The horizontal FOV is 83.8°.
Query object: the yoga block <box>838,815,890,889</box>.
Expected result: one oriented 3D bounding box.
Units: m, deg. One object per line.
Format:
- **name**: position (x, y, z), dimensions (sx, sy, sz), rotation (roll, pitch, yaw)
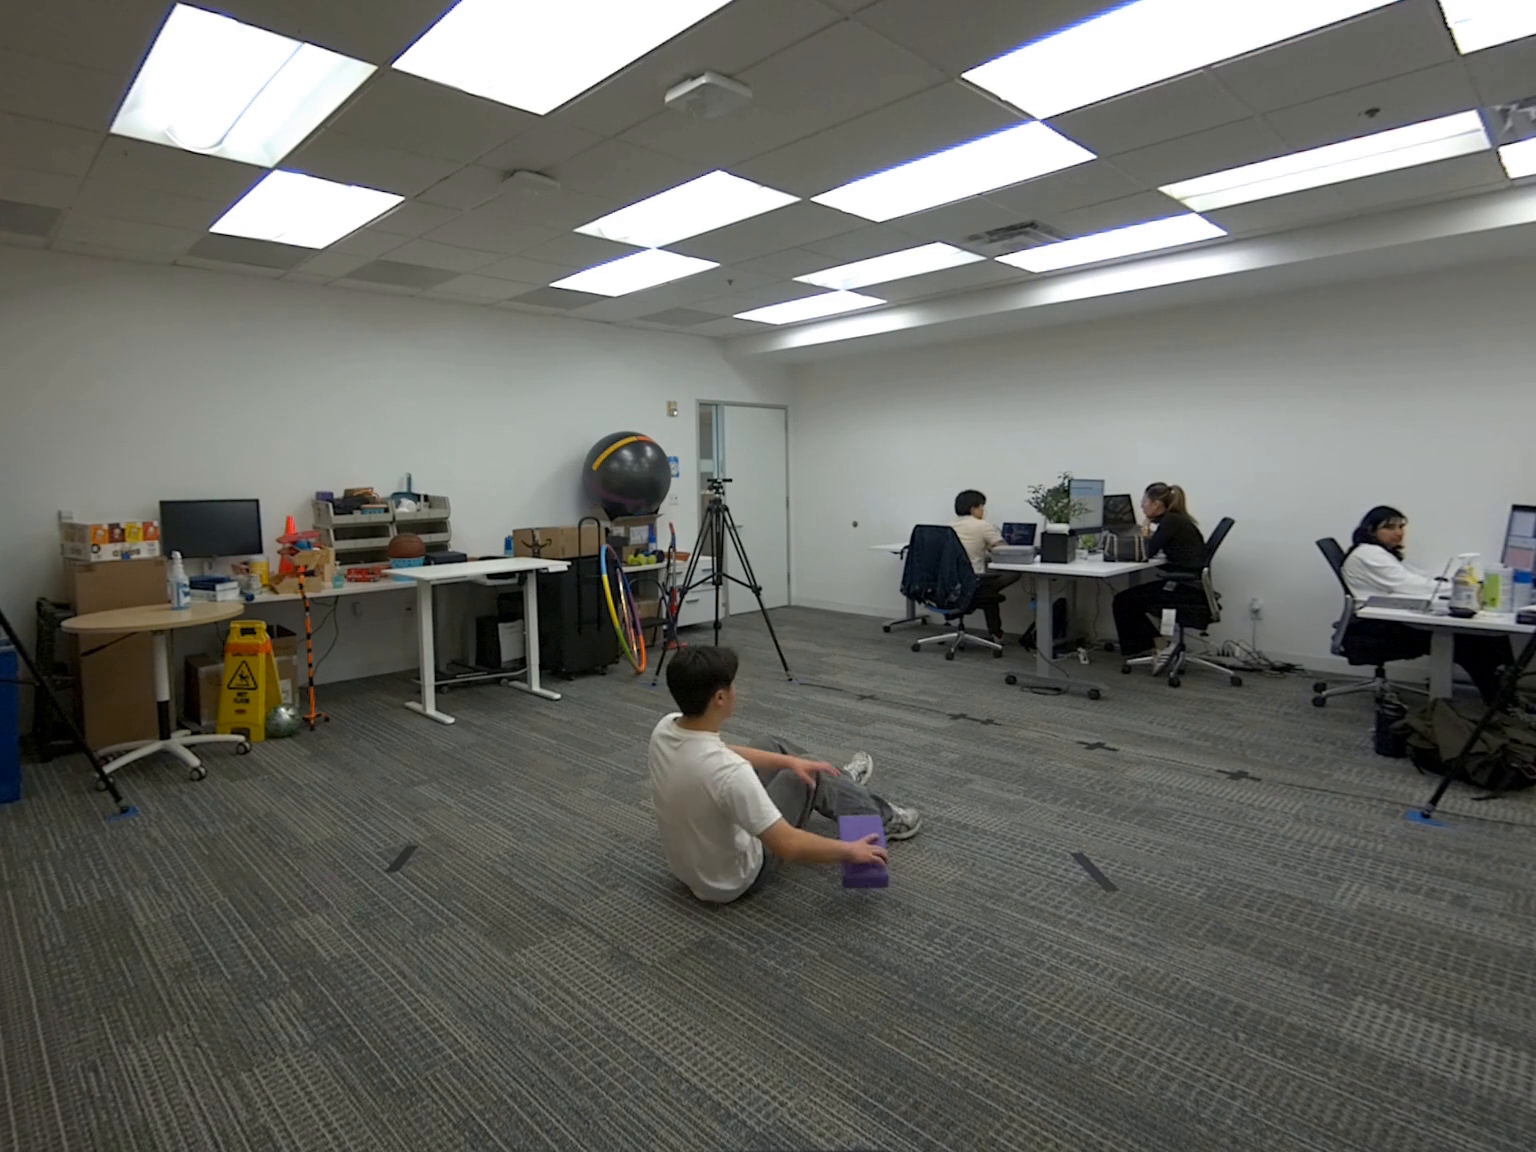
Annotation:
- **yoga block**: position (0.306, 0.910, 2.815), dimensions (0.149, 0.074, 0.235), rotation (-2, 39, 1)
